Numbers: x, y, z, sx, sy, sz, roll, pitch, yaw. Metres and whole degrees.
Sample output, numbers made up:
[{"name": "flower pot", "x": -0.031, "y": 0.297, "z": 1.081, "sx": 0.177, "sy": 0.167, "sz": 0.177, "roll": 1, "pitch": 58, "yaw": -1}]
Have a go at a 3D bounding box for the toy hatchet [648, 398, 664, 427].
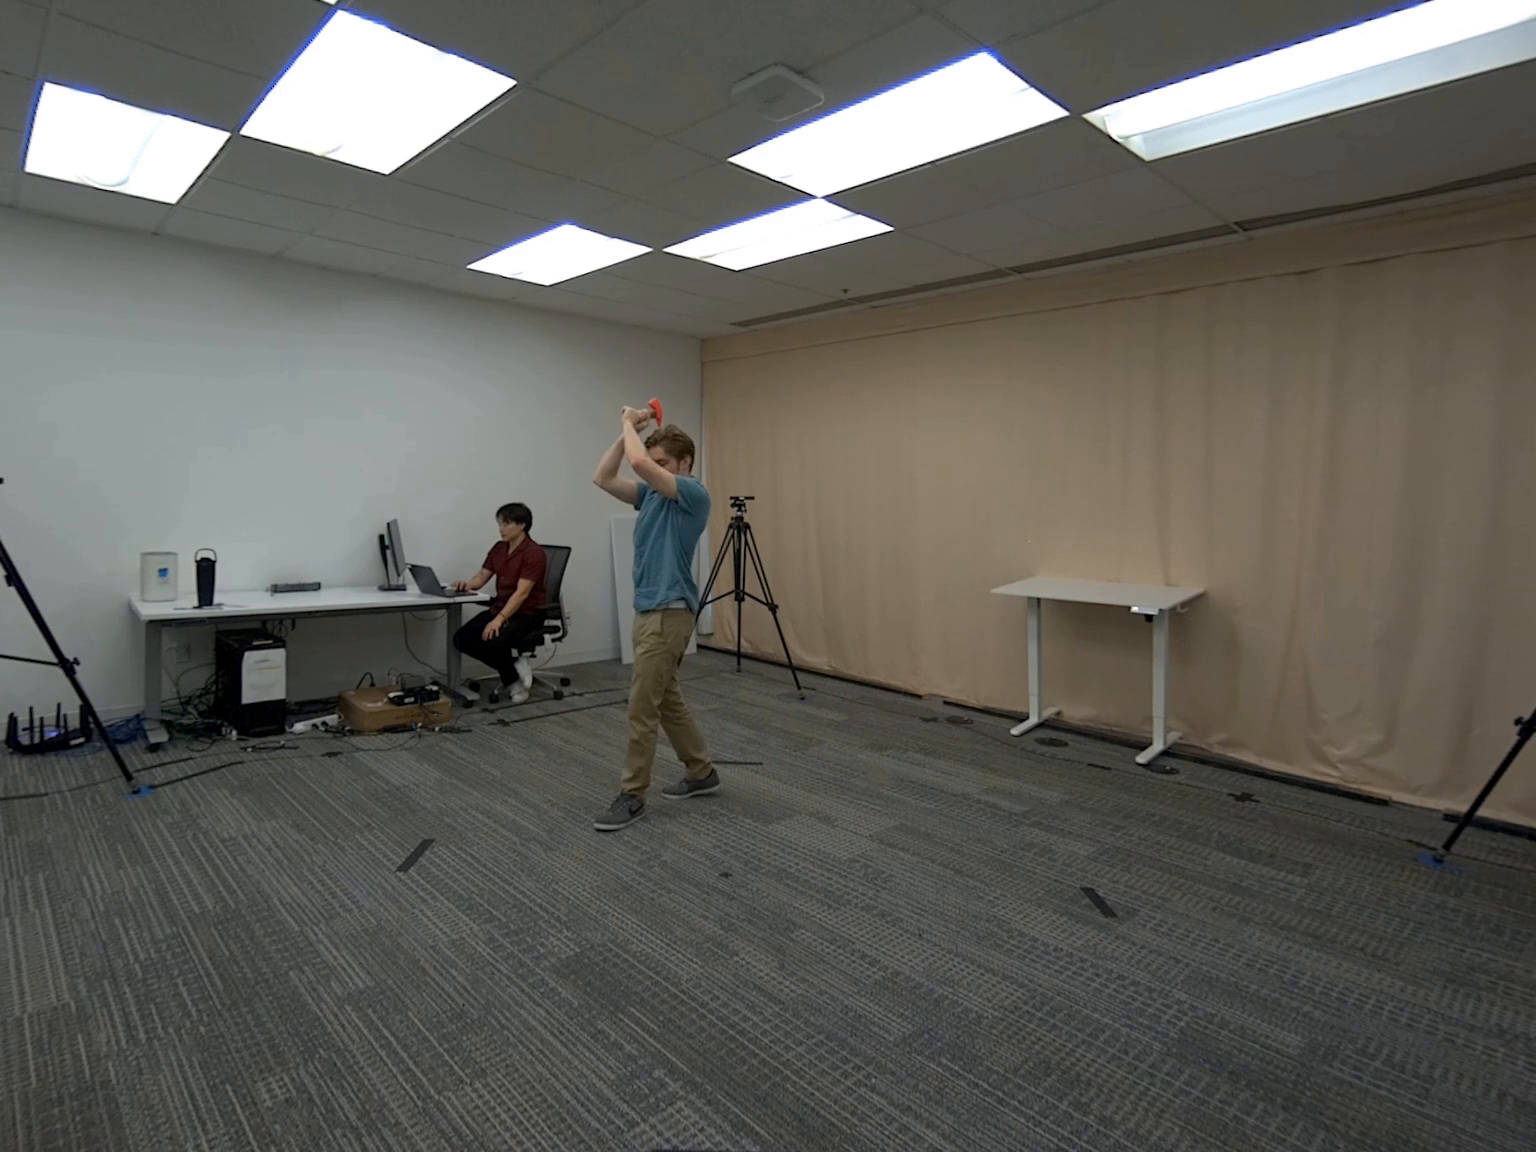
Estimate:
[{"name": "toy hatchet", "x": -0.560, "y": -0.750, "z": 3.747, "sx": 0.030, "sy": 0.131, "sz": 0.264, "roll": 6, "pitch": 1, "yaw": 29}]
